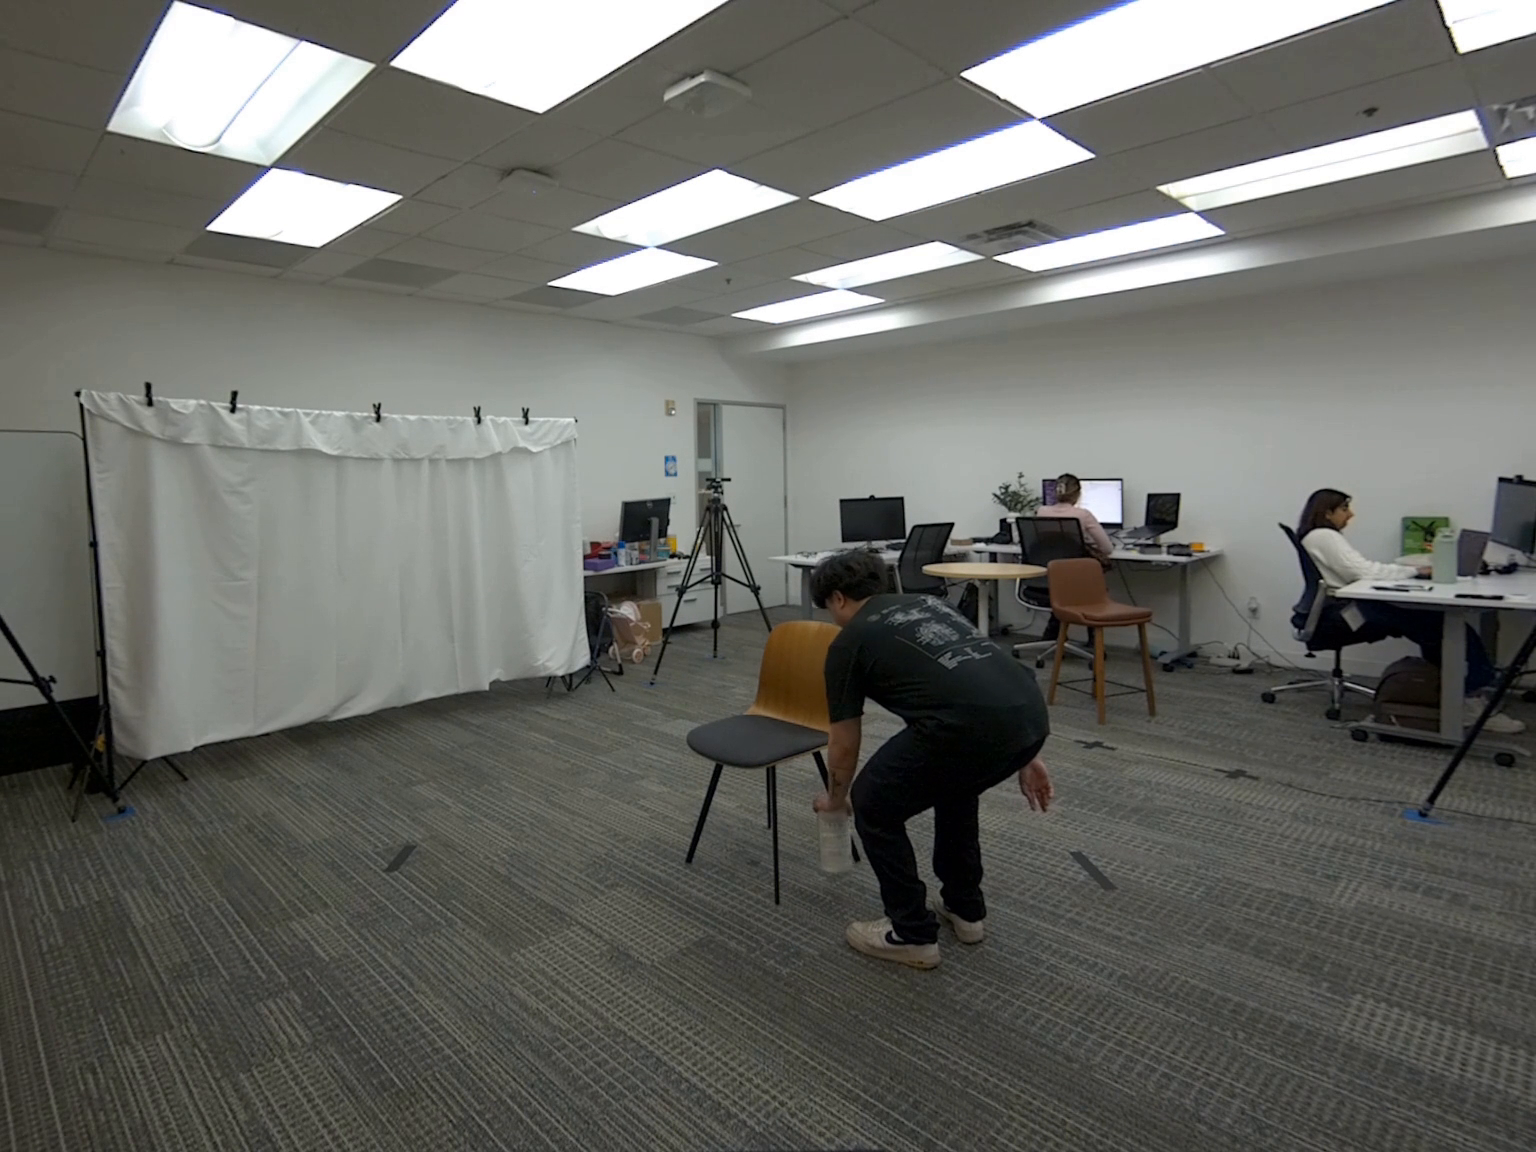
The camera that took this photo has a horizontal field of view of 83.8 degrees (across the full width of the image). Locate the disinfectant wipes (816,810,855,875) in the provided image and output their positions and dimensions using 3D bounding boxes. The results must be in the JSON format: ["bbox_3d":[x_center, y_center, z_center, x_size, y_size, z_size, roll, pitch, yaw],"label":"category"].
[{"bbox_3d":[0.224,0.861,2.858,0.118,0.217,0.118,-5,3,-1],"label":"disinfectant wipes"}]
